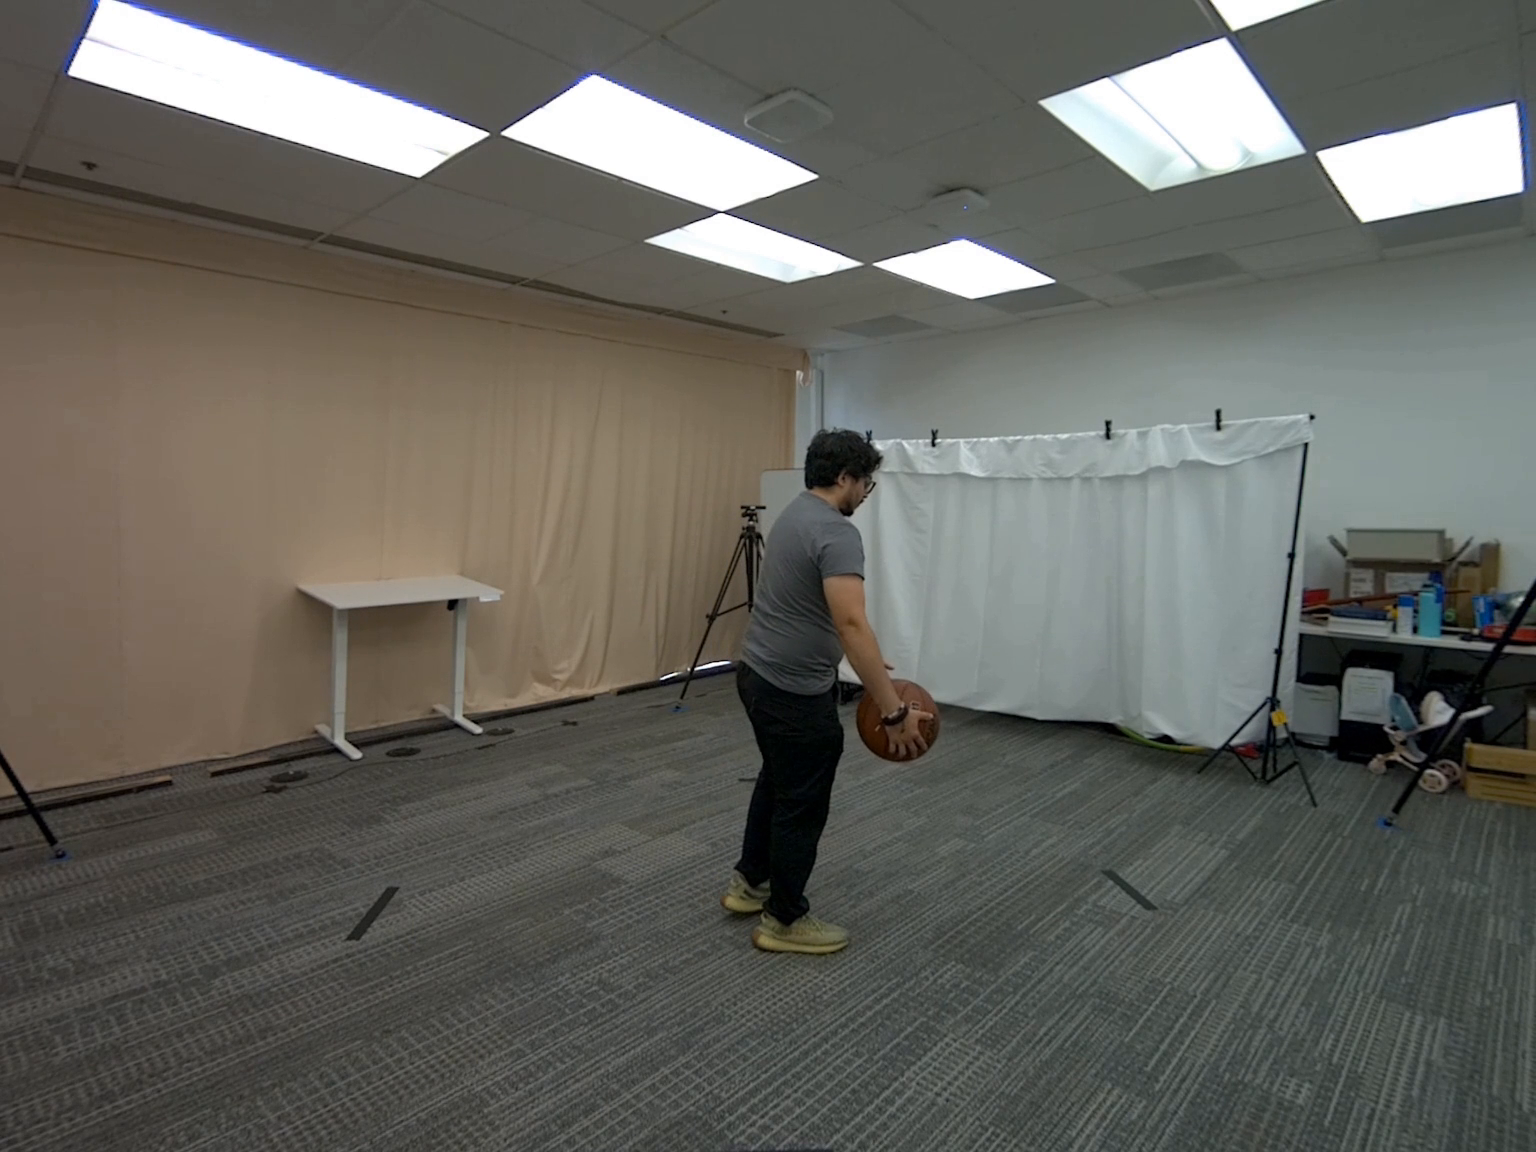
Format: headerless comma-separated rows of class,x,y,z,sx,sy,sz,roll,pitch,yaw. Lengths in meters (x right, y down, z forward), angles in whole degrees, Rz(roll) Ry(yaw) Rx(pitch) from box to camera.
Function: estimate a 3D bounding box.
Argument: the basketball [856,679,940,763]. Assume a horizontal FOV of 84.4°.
basketball,0.383,0.418,2.457,0.236,0.235,0.237,0,4,-2
